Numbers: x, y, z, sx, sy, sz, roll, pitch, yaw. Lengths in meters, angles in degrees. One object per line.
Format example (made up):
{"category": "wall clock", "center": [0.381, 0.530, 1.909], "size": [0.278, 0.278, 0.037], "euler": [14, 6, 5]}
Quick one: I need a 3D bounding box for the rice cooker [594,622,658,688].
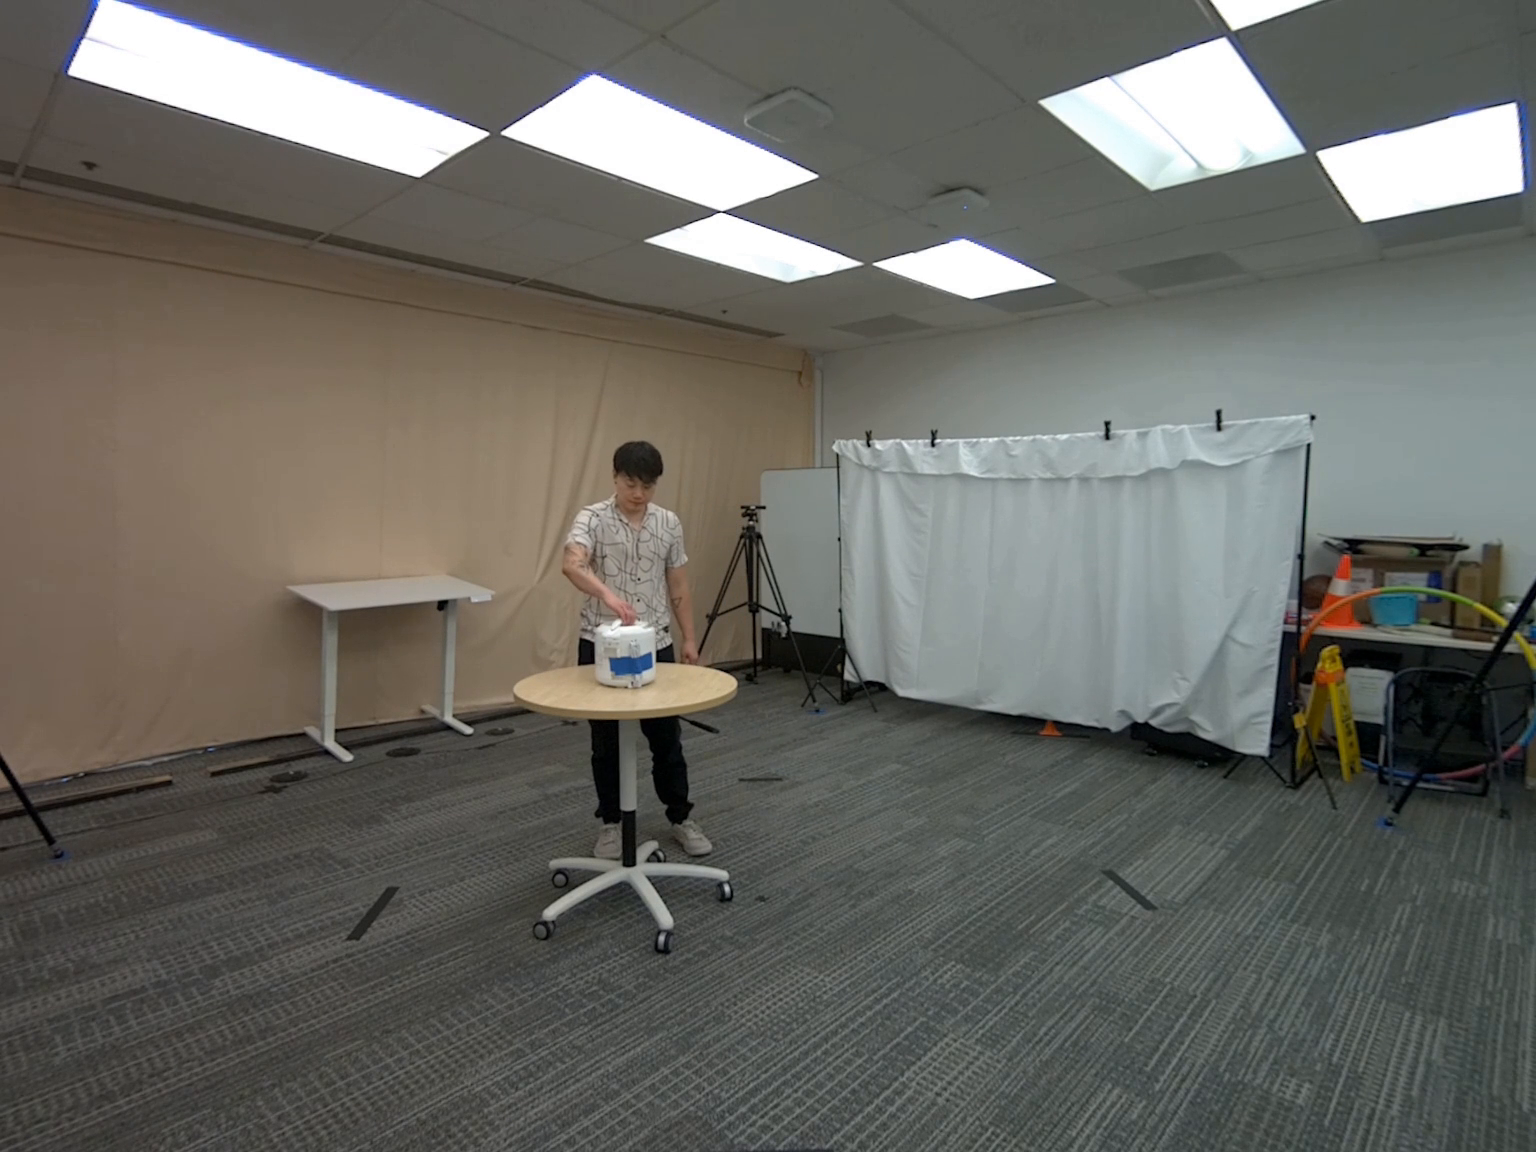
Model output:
{"category": "rice cooker", "center": [-0.491, 0.255, 2.915], "size": [0.222, 0.232, 0.216], "euler": [2, 4, 21]}
